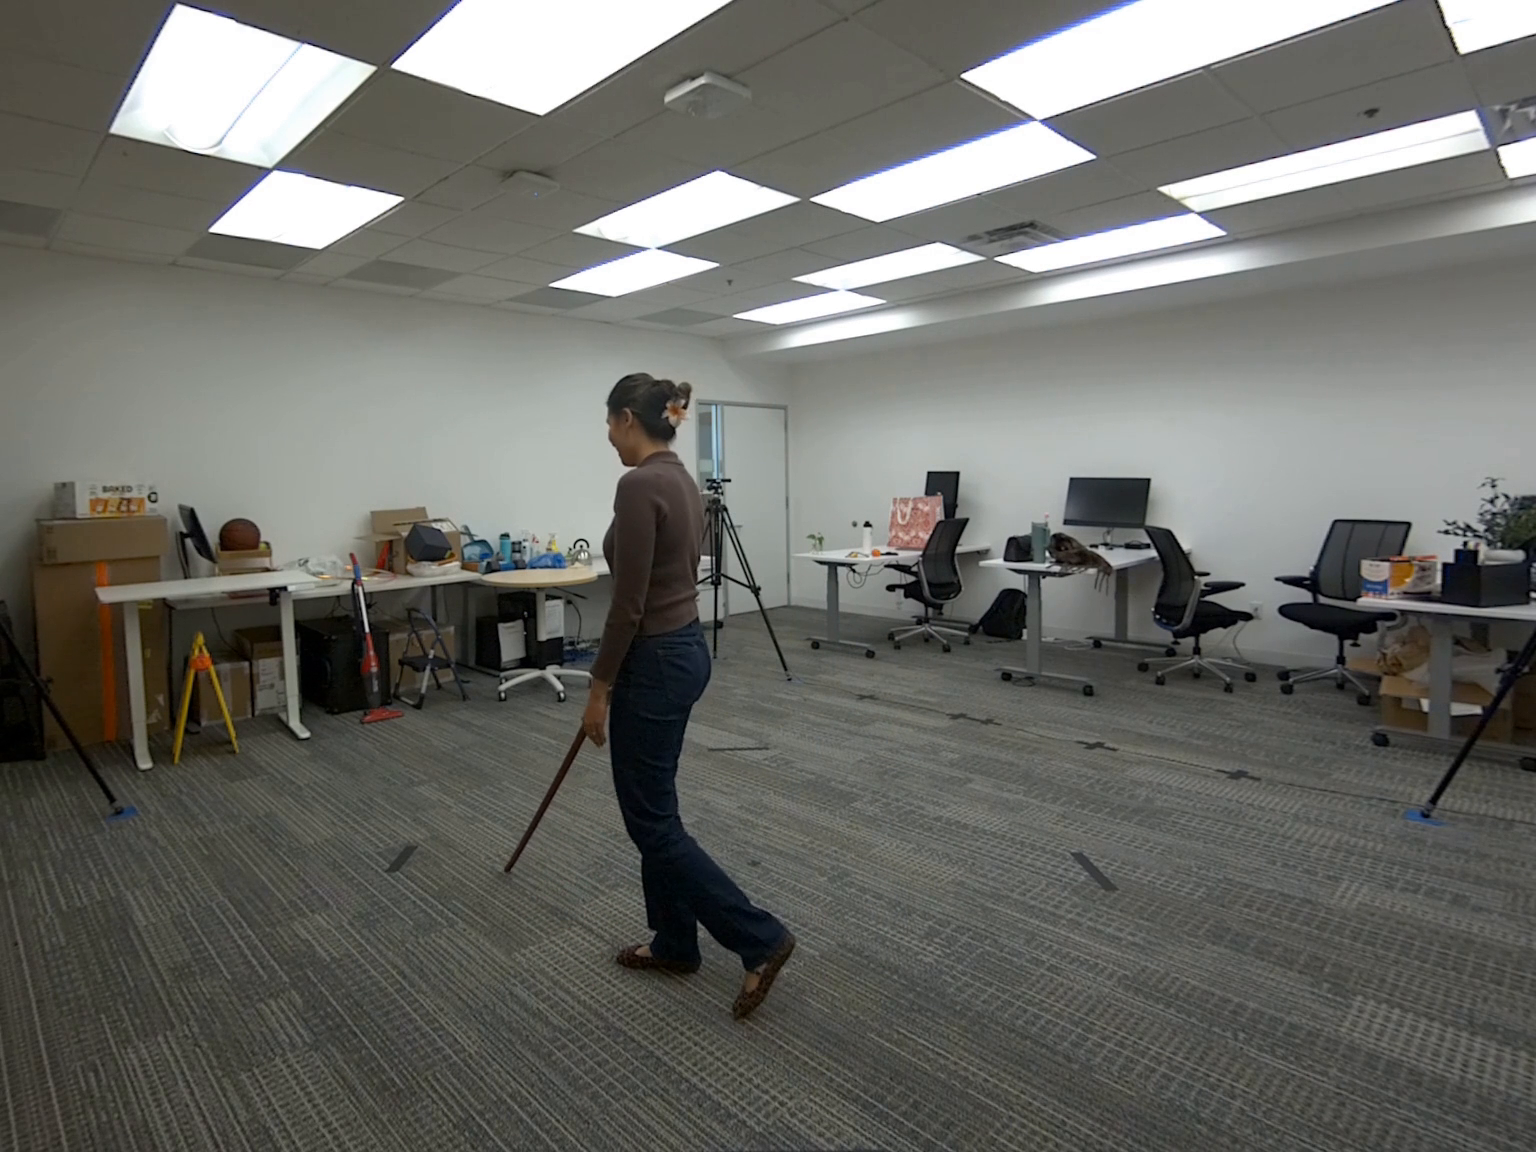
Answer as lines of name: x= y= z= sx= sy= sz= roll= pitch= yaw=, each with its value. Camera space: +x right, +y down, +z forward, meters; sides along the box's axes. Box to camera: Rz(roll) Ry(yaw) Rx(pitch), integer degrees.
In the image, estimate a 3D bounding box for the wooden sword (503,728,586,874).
wooden sword: x=-0.712 y=0.710 z=2.828 sx=0.024 sy=1.018 sz=0.051 roll=38 pitch=31 yaw=8
